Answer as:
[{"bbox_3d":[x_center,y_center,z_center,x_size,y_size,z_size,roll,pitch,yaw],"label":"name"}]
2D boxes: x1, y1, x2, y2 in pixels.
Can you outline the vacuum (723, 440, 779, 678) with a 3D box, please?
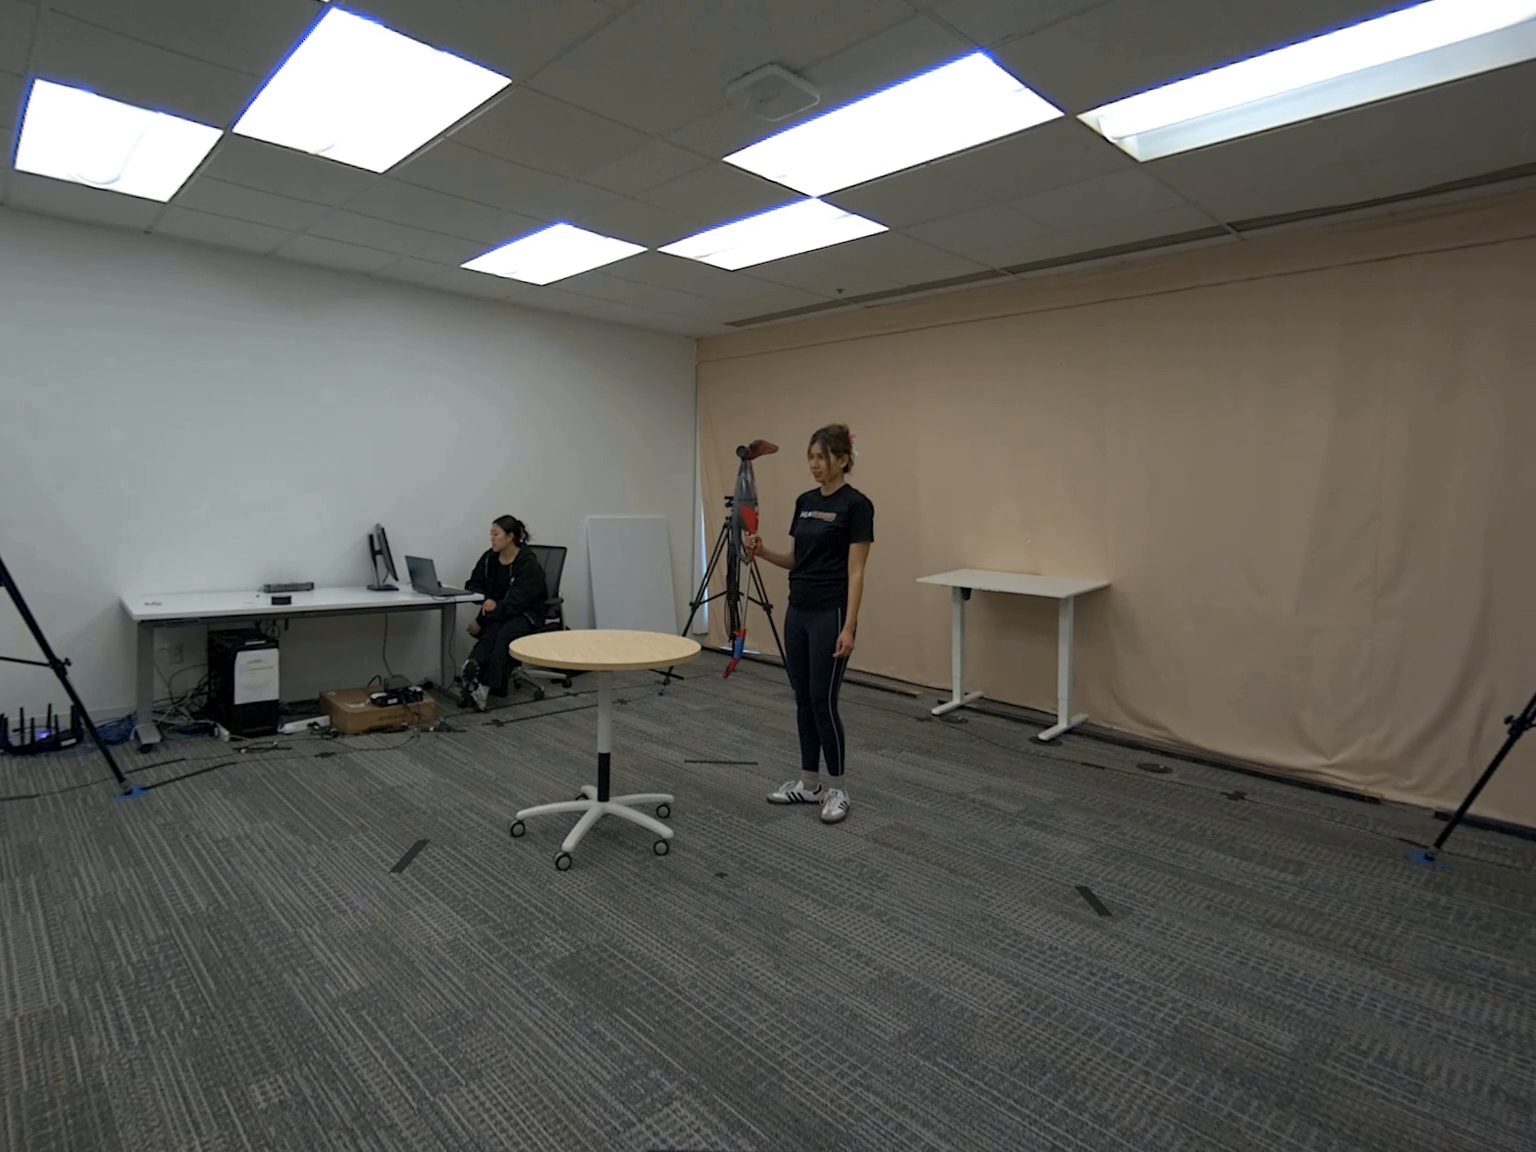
[{"bbox_3d":[-0.133,-0.064,3.787,0.147,1.048,0.248,9,3,22],"label":"vacuum"}]
